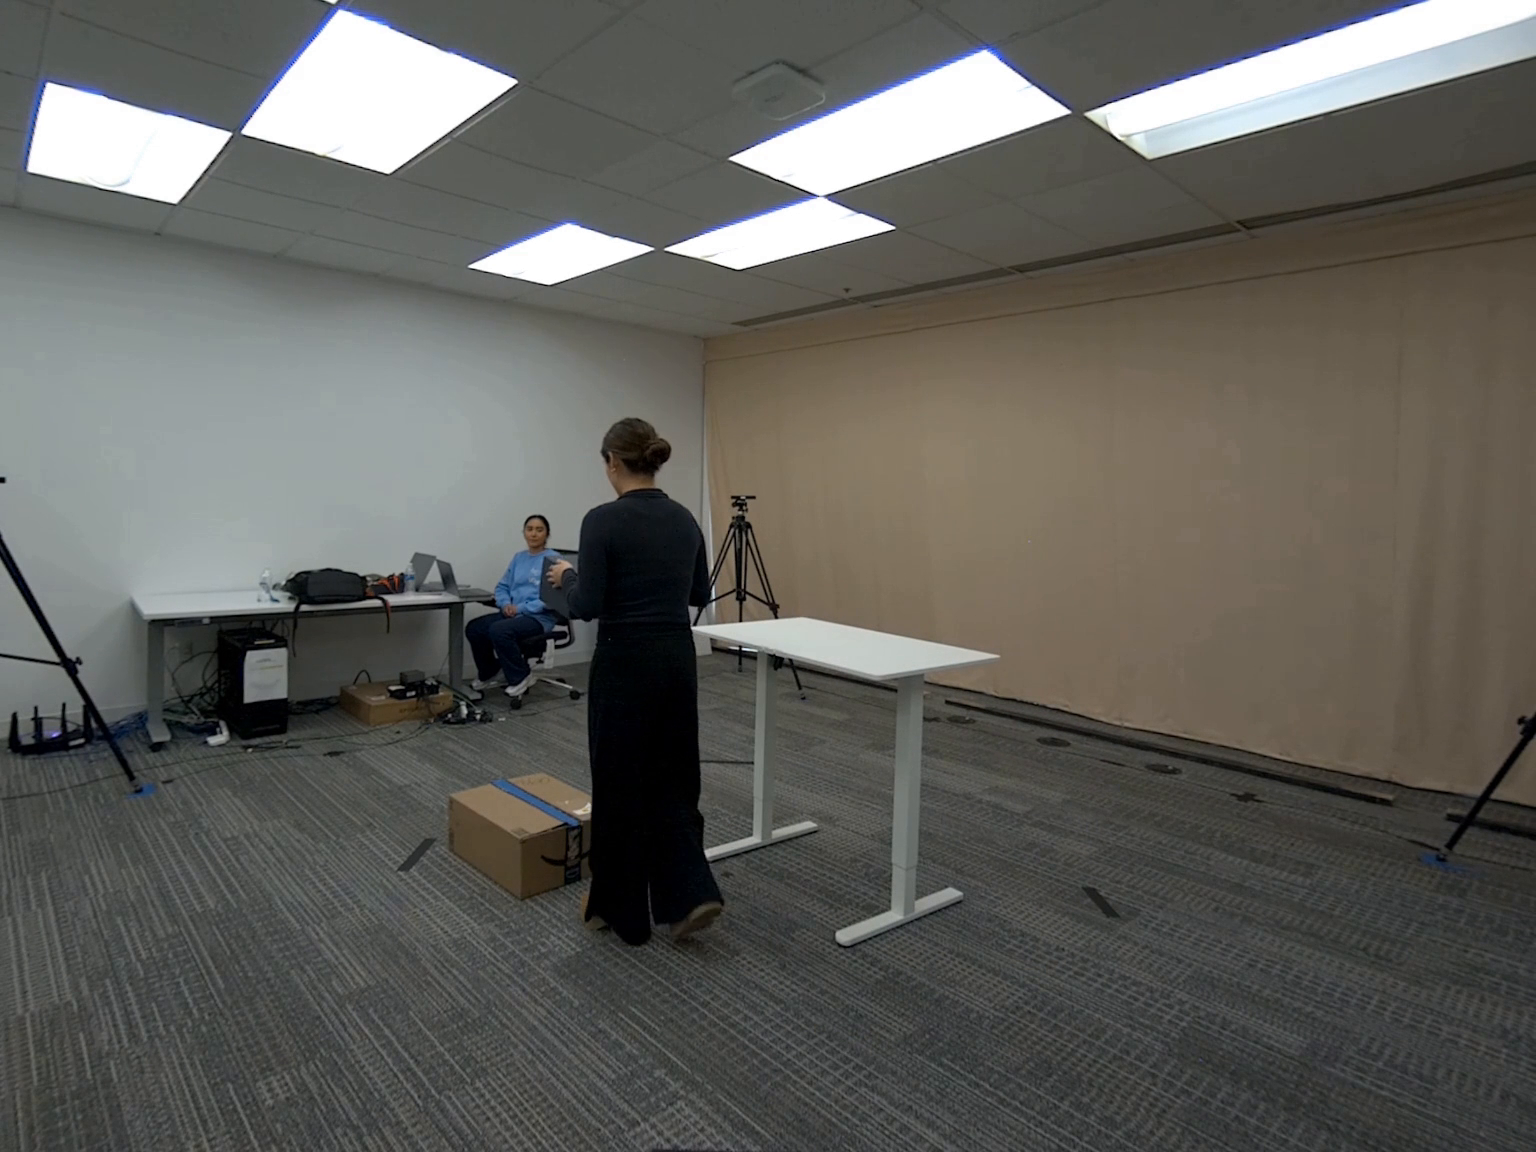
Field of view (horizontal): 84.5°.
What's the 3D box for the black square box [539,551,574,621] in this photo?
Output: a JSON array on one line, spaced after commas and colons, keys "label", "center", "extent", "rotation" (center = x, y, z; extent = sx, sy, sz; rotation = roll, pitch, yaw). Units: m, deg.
[{"label": "black square box", "center": [-0.602, 0.034, 2.811], "extent": [0.222, 0.155, 0.223], "rotation": [-1, 14, -41]}]
